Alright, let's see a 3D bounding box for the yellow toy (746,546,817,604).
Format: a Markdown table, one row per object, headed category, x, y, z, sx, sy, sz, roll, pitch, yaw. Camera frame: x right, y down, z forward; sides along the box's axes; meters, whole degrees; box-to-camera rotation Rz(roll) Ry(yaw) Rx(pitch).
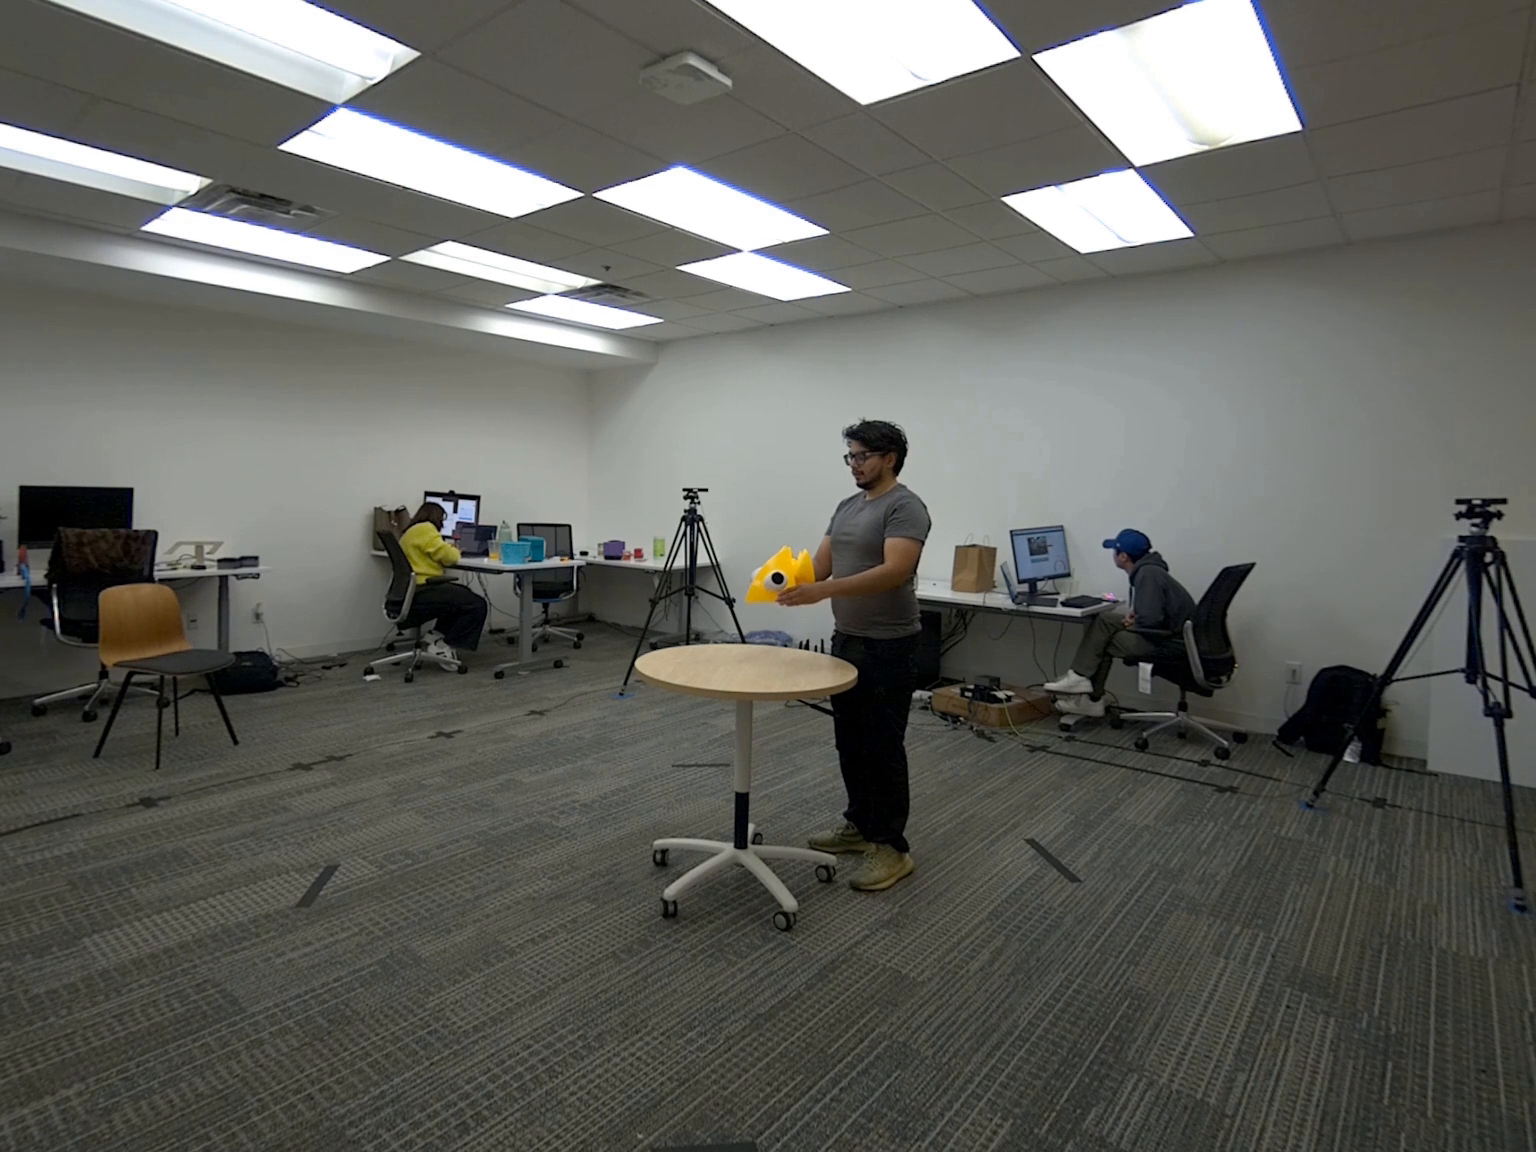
| category | x | y | z | sx | sy | sz | roll | pitch | yaw |
| --- | --- | --- | --- | --- | --- | --- | --- | --- | --- |
| yellow toy | 0.004 | 0.008 | 2.990 | 0.226 | 0.191 | 0.211 | -13 | 13 | -28 |
